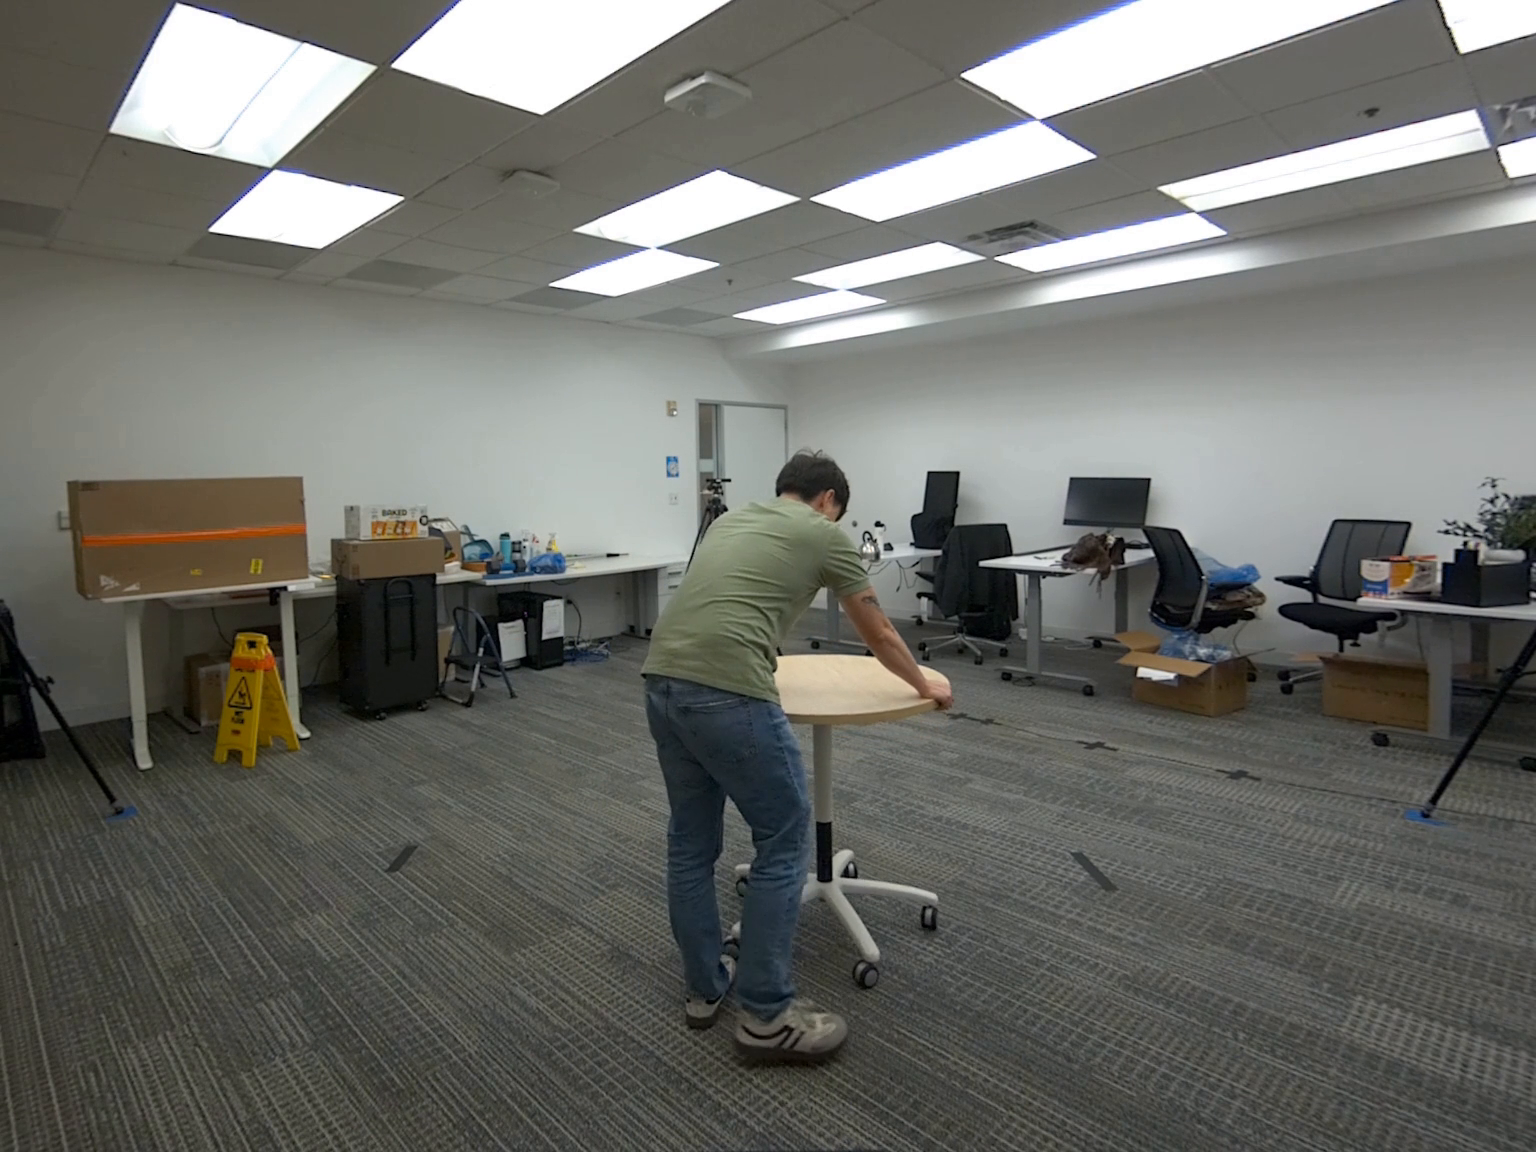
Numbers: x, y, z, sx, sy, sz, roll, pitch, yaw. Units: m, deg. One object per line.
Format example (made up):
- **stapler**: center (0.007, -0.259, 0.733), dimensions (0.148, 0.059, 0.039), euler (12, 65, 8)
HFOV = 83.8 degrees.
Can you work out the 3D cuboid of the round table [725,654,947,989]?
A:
- **round table**: center (0.181, 0.709, 2.655), dimensions (0.763, 0.790, 0.768), euler (-1, 5, -2)
